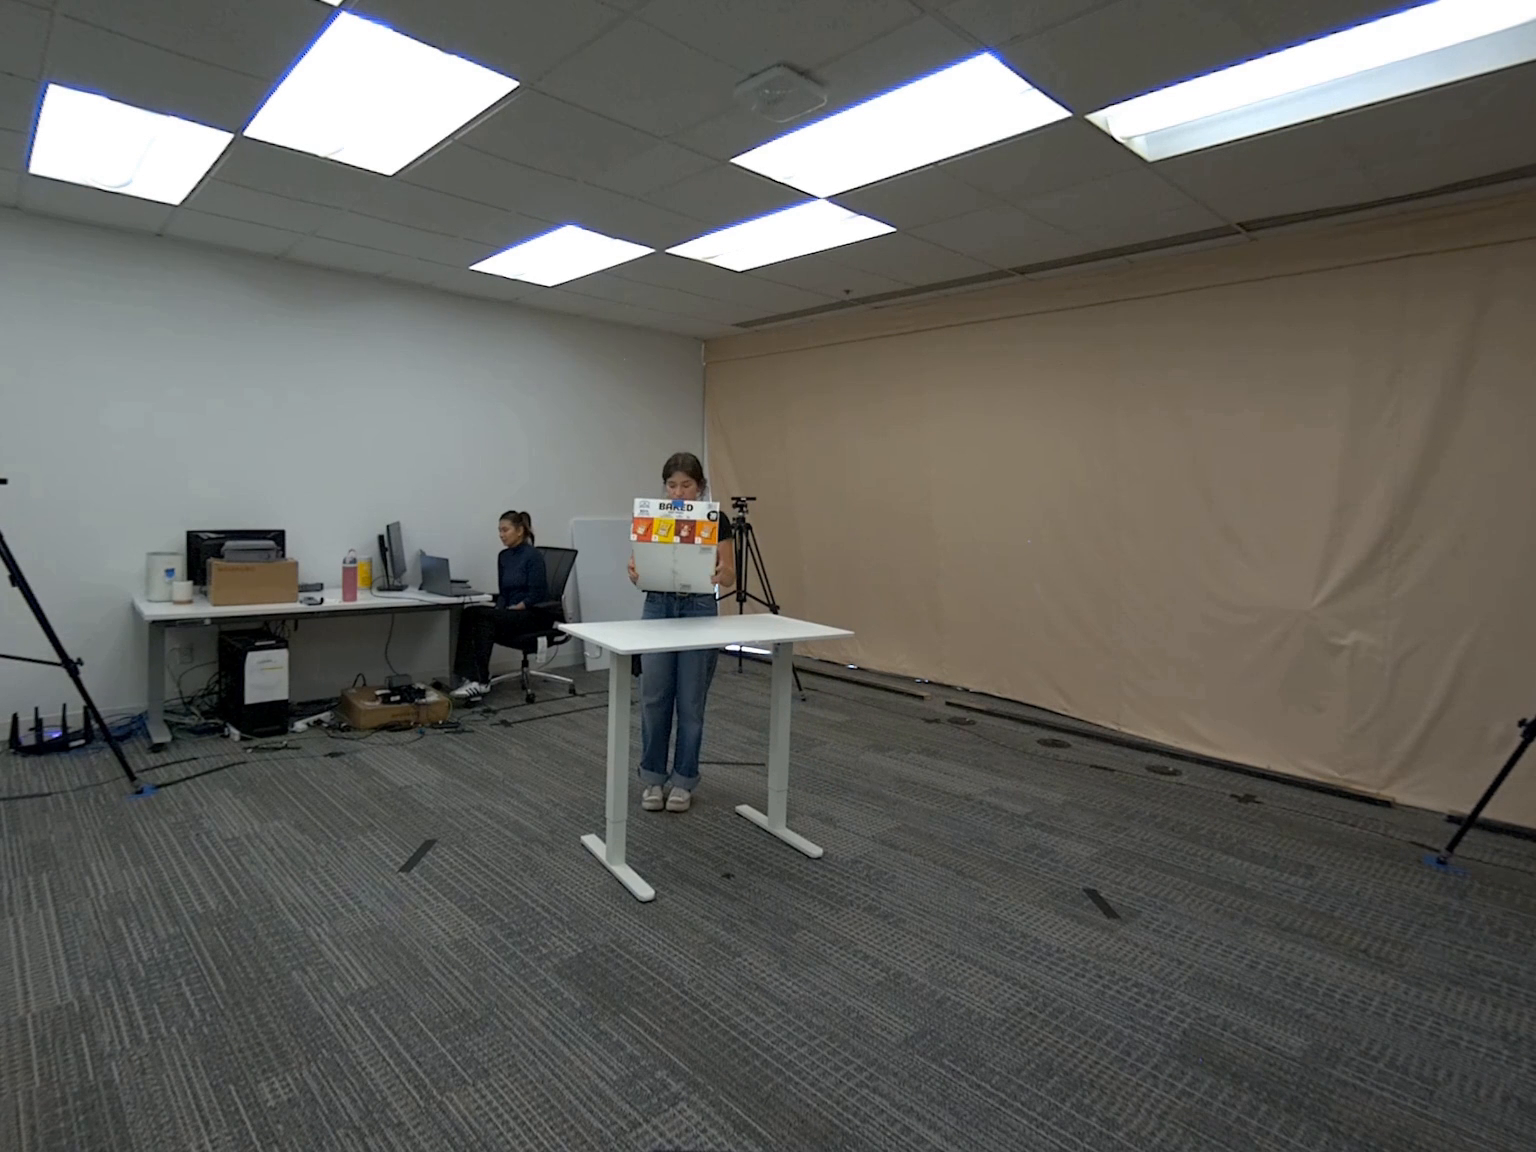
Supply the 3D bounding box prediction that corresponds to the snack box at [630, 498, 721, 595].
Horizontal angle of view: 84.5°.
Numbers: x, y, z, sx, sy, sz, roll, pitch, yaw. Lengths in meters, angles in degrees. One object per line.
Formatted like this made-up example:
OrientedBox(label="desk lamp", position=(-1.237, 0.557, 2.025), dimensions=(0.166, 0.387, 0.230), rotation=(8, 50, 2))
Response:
OrientedBox(label="snack box", position=(-0.389, -0.118, 3.473), dimensions=(0.340, 0.209, 0.398), rotation=(4, -31, -2))
